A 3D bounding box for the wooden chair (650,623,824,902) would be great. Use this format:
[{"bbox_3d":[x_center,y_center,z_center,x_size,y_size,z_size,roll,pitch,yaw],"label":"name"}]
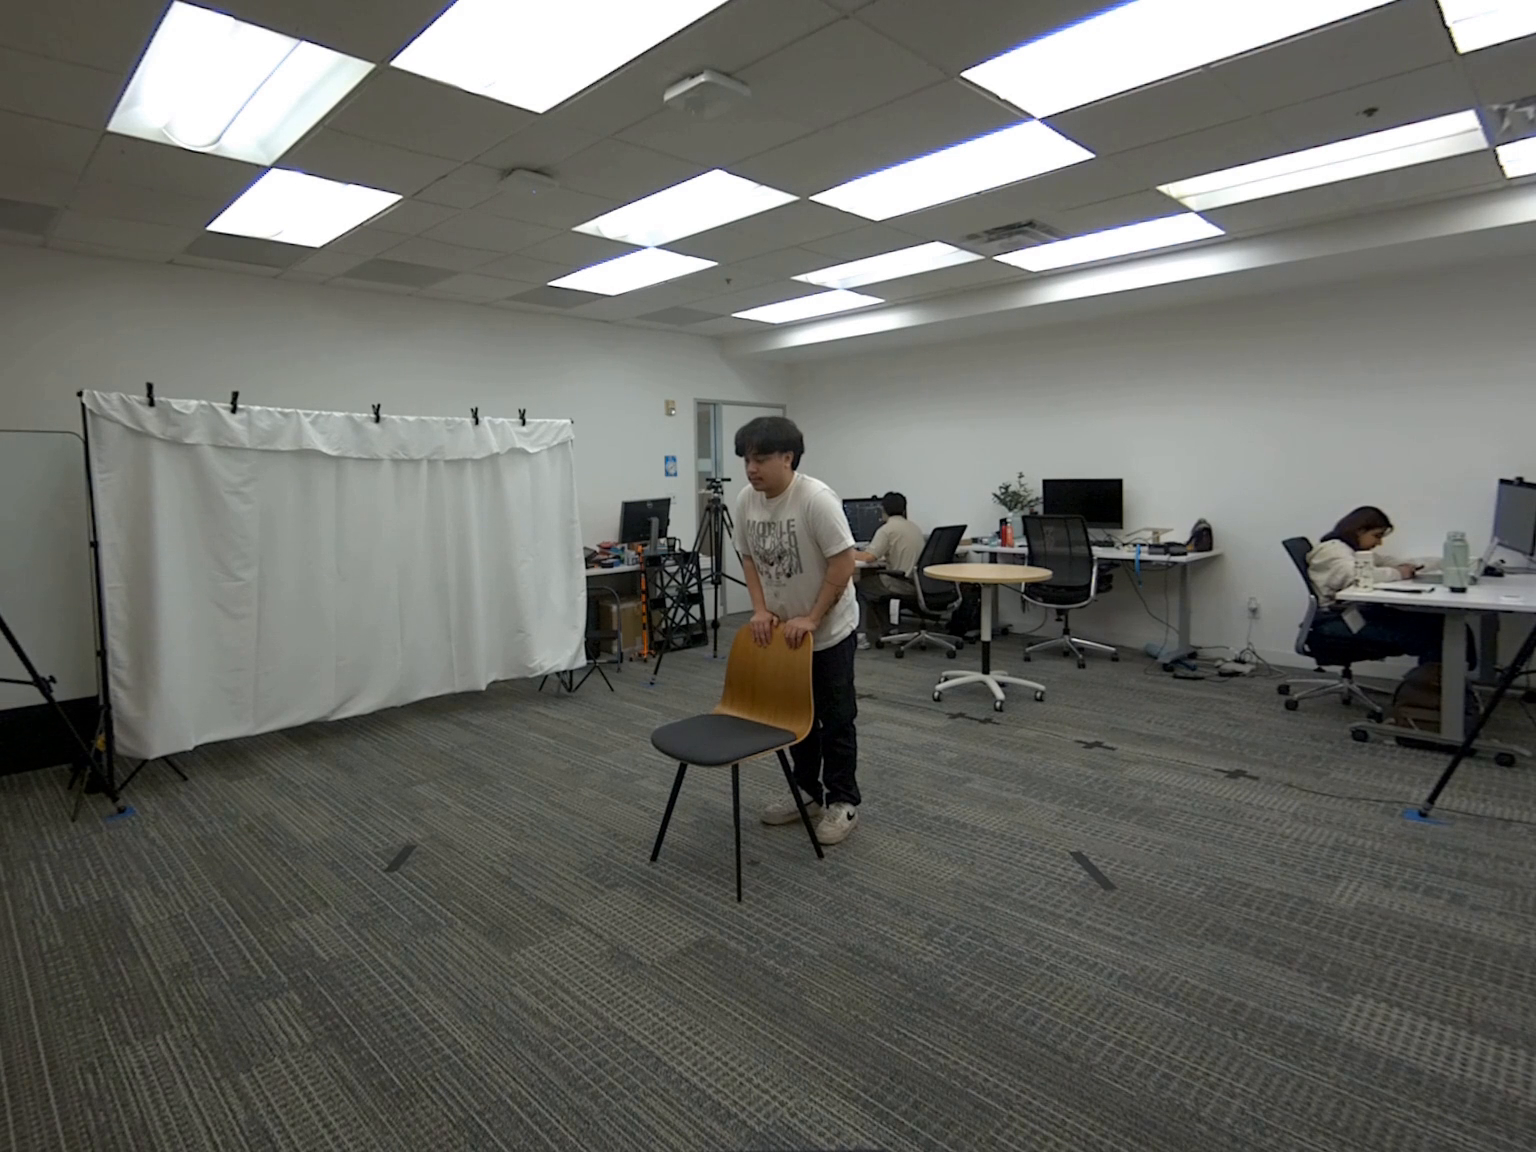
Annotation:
[{"bbox_3d":[-0.124,0.620,3.092,0.493,0.877,0.508,4,2,43],"label":"wooden chair"}]
